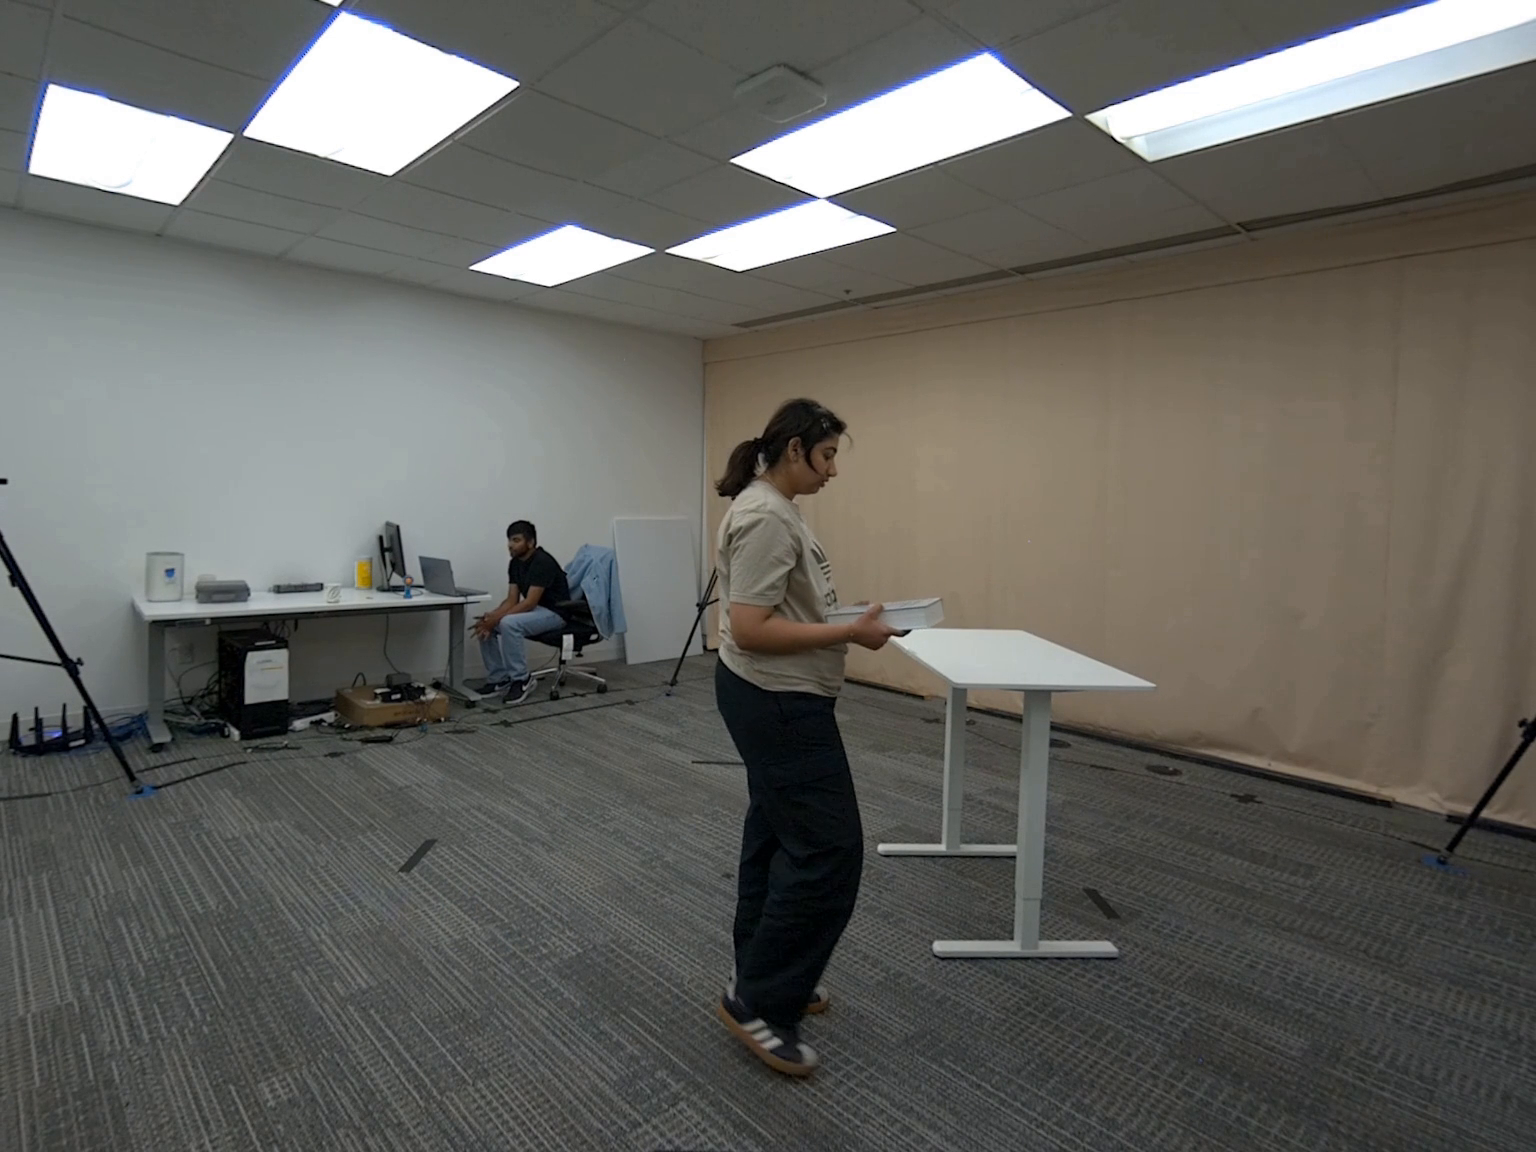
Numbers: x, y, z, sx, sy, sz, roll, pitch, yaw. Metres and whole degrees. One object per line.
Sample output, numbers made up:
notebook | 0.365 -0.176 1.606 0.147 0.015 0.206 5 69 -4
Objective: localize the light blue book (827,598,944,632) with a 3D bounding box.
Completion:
light blue book | 0.297 0.109 2.158 0.265 0.059 0.188 -5 3 27
